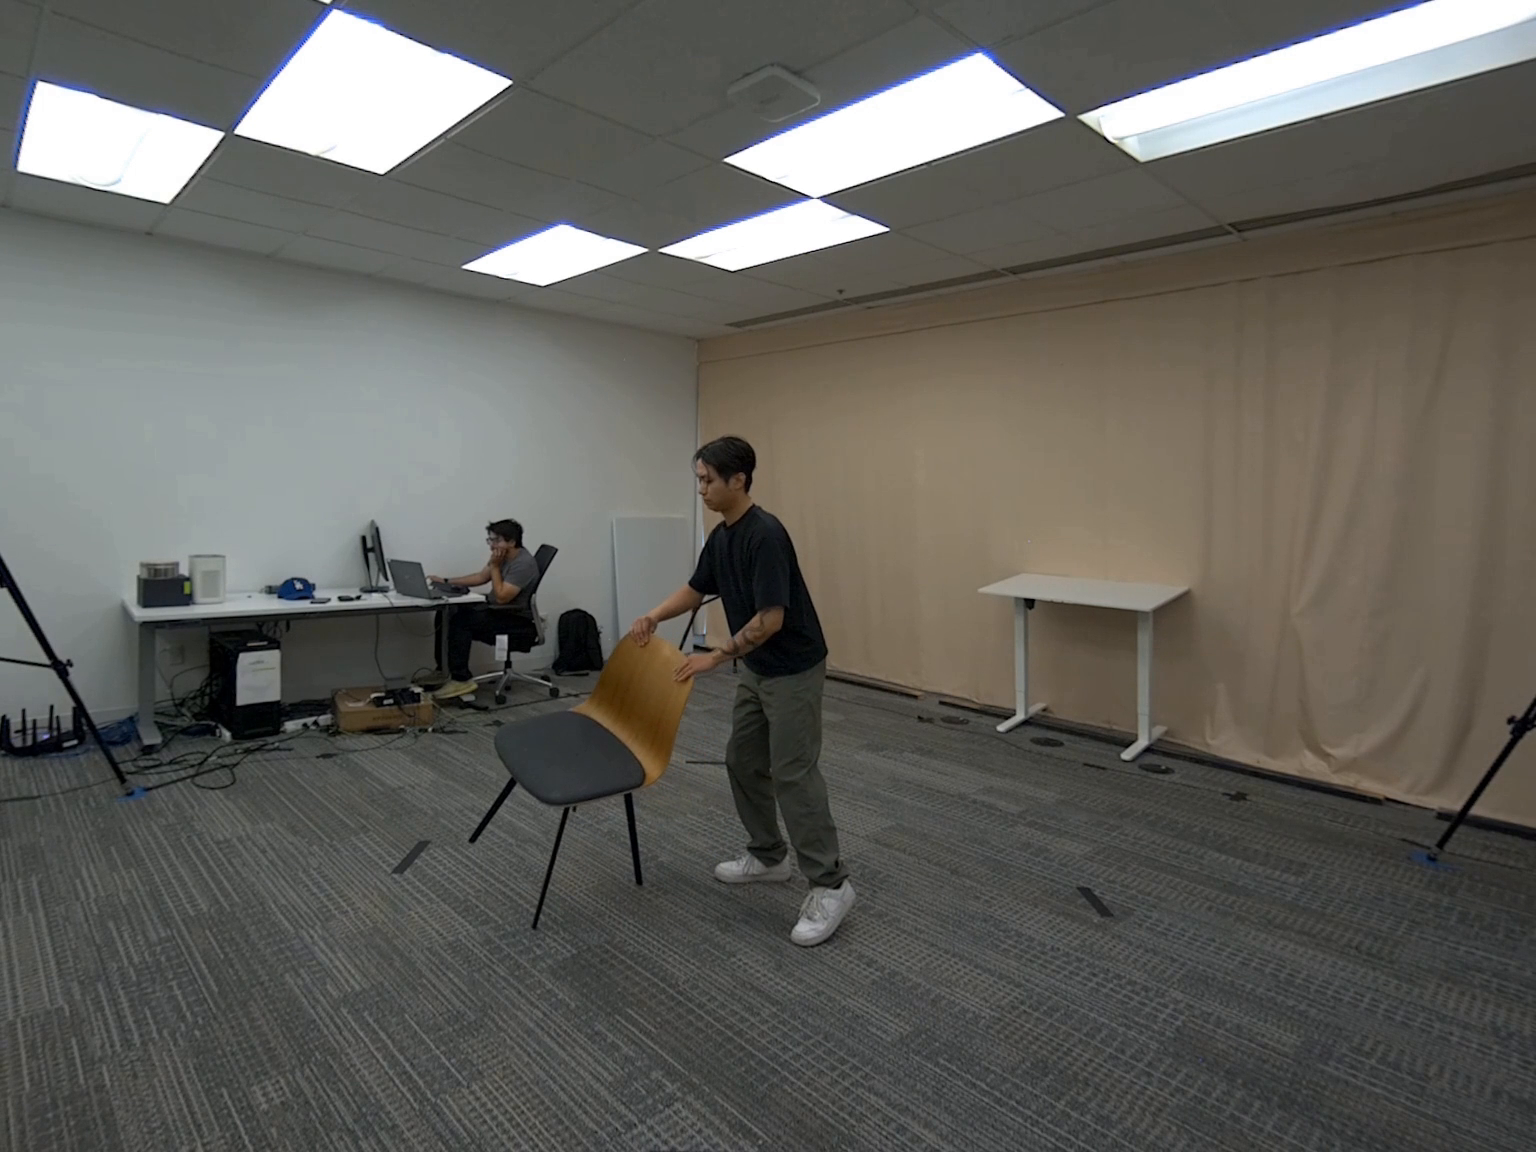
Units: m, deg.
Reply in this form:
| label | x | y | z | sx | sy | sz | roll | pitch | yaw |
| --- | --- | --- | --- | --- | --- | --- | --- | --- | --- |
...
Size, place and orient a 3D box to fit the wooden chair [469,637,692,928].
| label | x | y | z | sx | sy | sz | roll | pitch | yaw |
| --- | --- | --- | --- | --- | --- | --- | --- | --- | --- |
| wooden chair | -0.641 | 0.643 | 2.857 | 0.493 | 0.872 | 0.510 | 31 | 17 | 37 |
